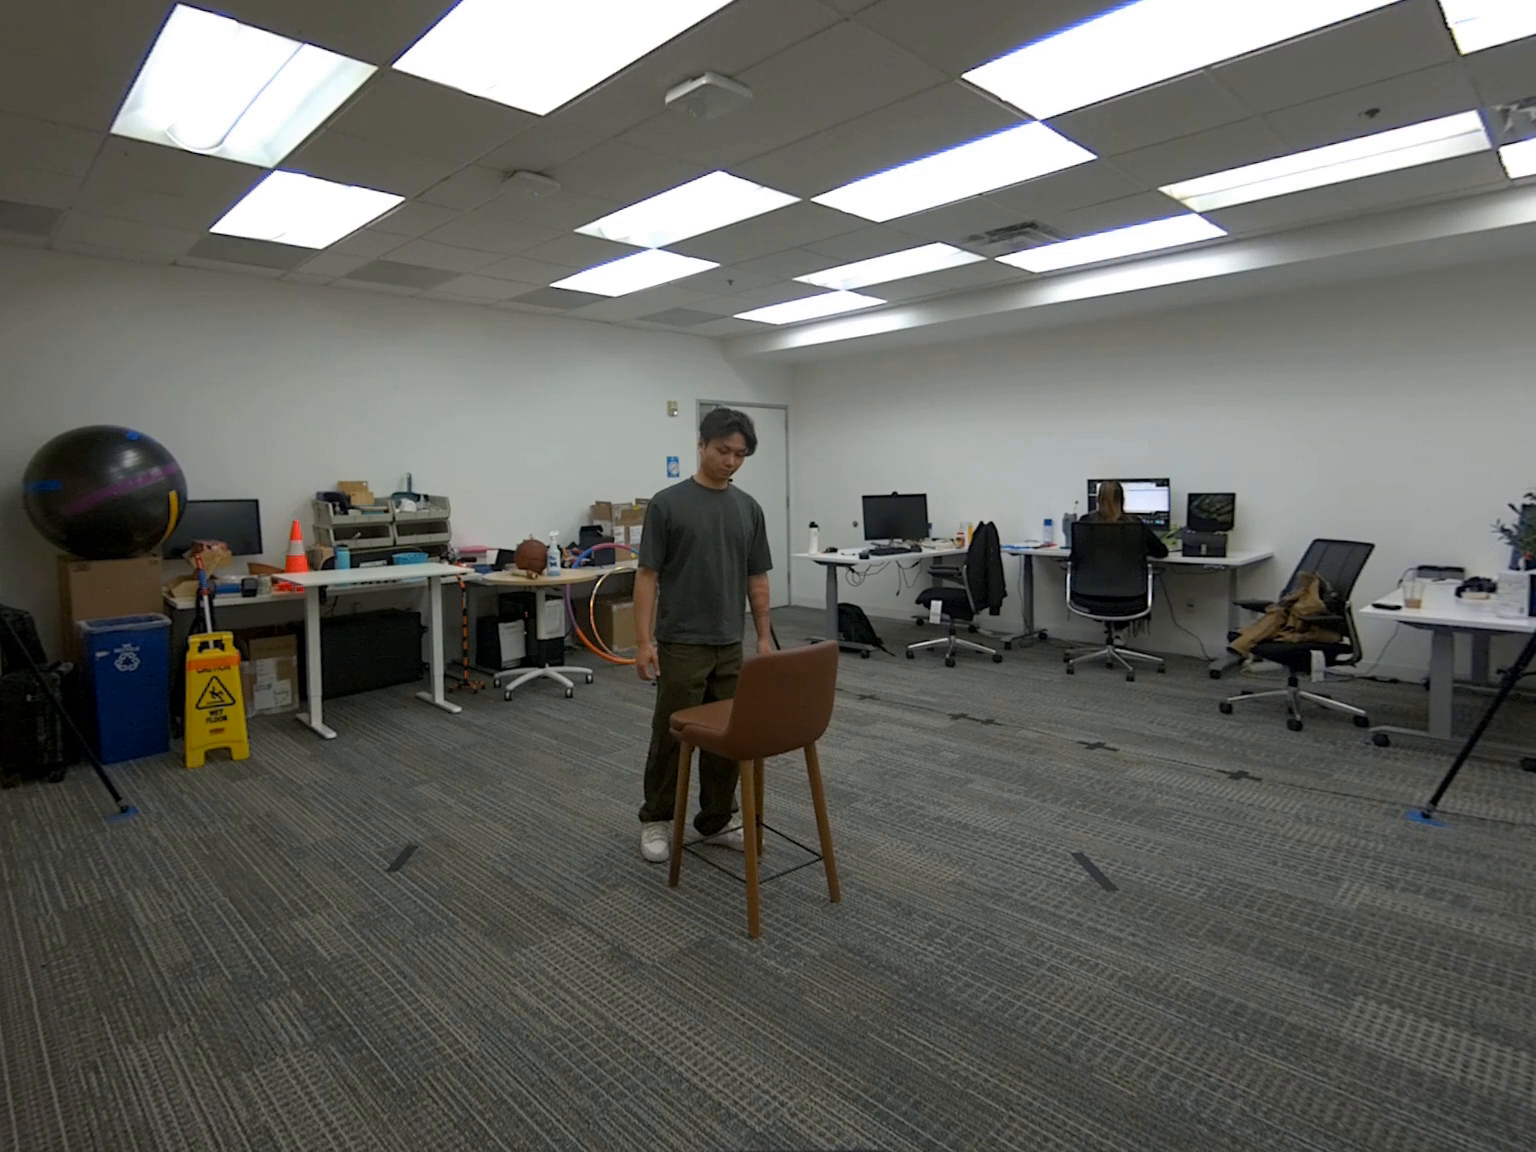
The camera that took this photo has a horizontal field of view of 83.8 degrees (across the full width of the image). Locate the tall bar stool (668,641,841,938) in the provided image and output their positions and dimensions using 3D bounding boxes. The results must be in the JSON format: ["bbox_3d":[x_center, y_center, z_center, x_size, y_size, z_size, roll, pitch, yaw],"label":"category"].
[{"bbox_3d":[-0.041,0.637,2.857,0.444,0.885,0.482,-4,7,-39],"label":"tall bar stool"}]
